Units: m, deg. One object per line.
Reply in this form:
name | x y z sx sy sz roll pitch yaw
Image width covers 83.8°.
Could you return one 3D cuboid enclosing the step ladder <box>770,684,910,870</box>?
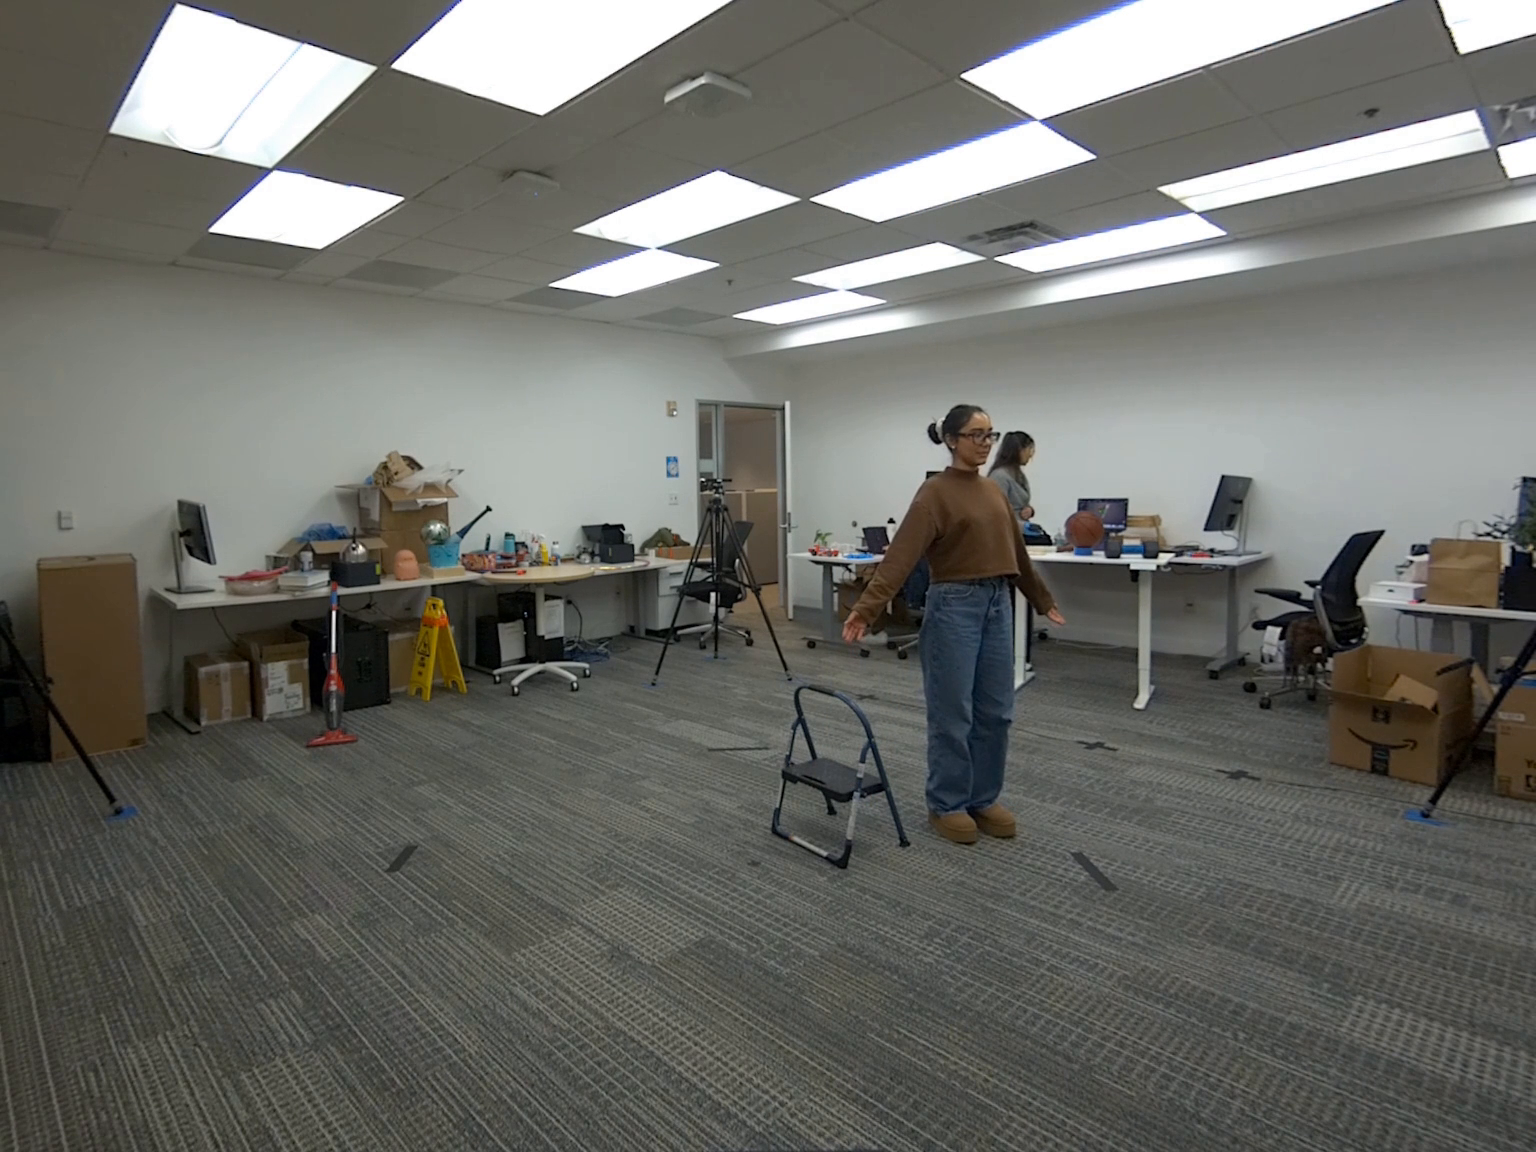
step ladder | 0.270 0.716 3.288 0.340 0.604 0.444 -4 5 -39
